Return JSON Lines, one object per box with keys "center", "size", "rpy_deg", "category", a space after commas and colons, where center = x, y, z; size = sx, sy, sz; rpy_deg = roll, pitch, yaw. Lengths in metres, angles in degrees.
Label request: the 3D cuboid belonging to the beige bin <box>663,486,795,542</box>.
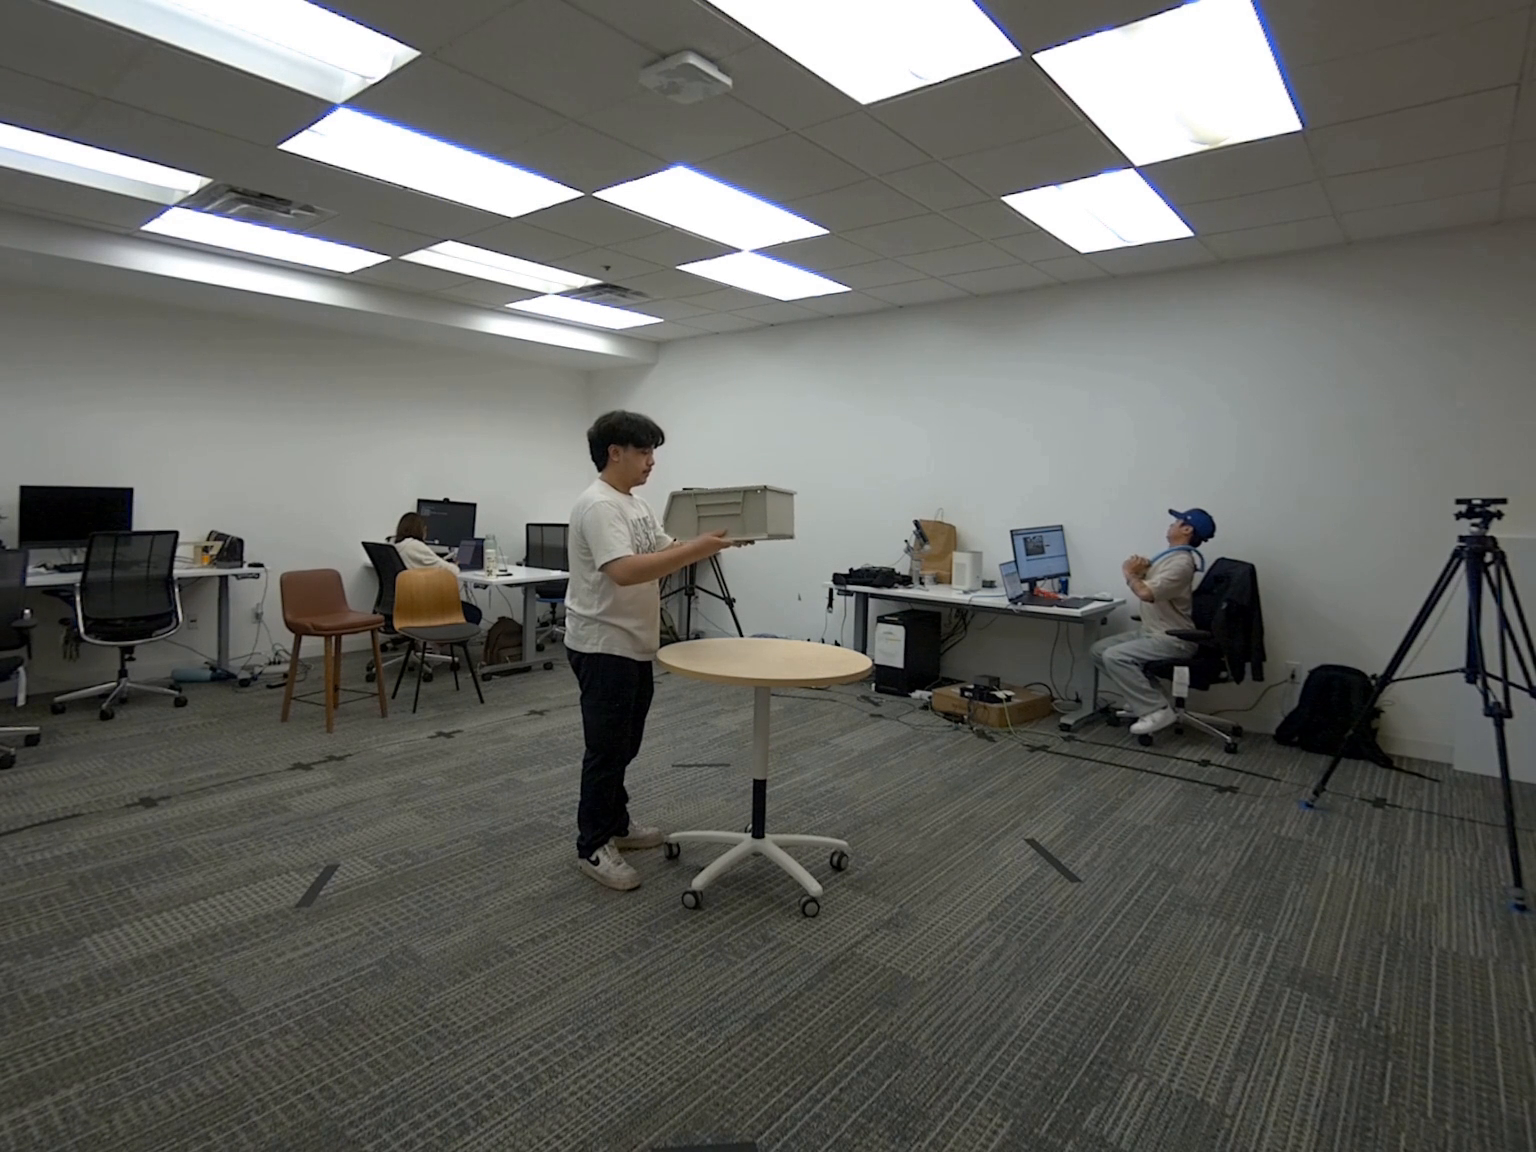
{"center": [-0.137, -0.211, 3.053], "size": [0.384, 0.189, 0.415], "rpy_deg": [-1, 1, 17], "category": "beige bin"}
